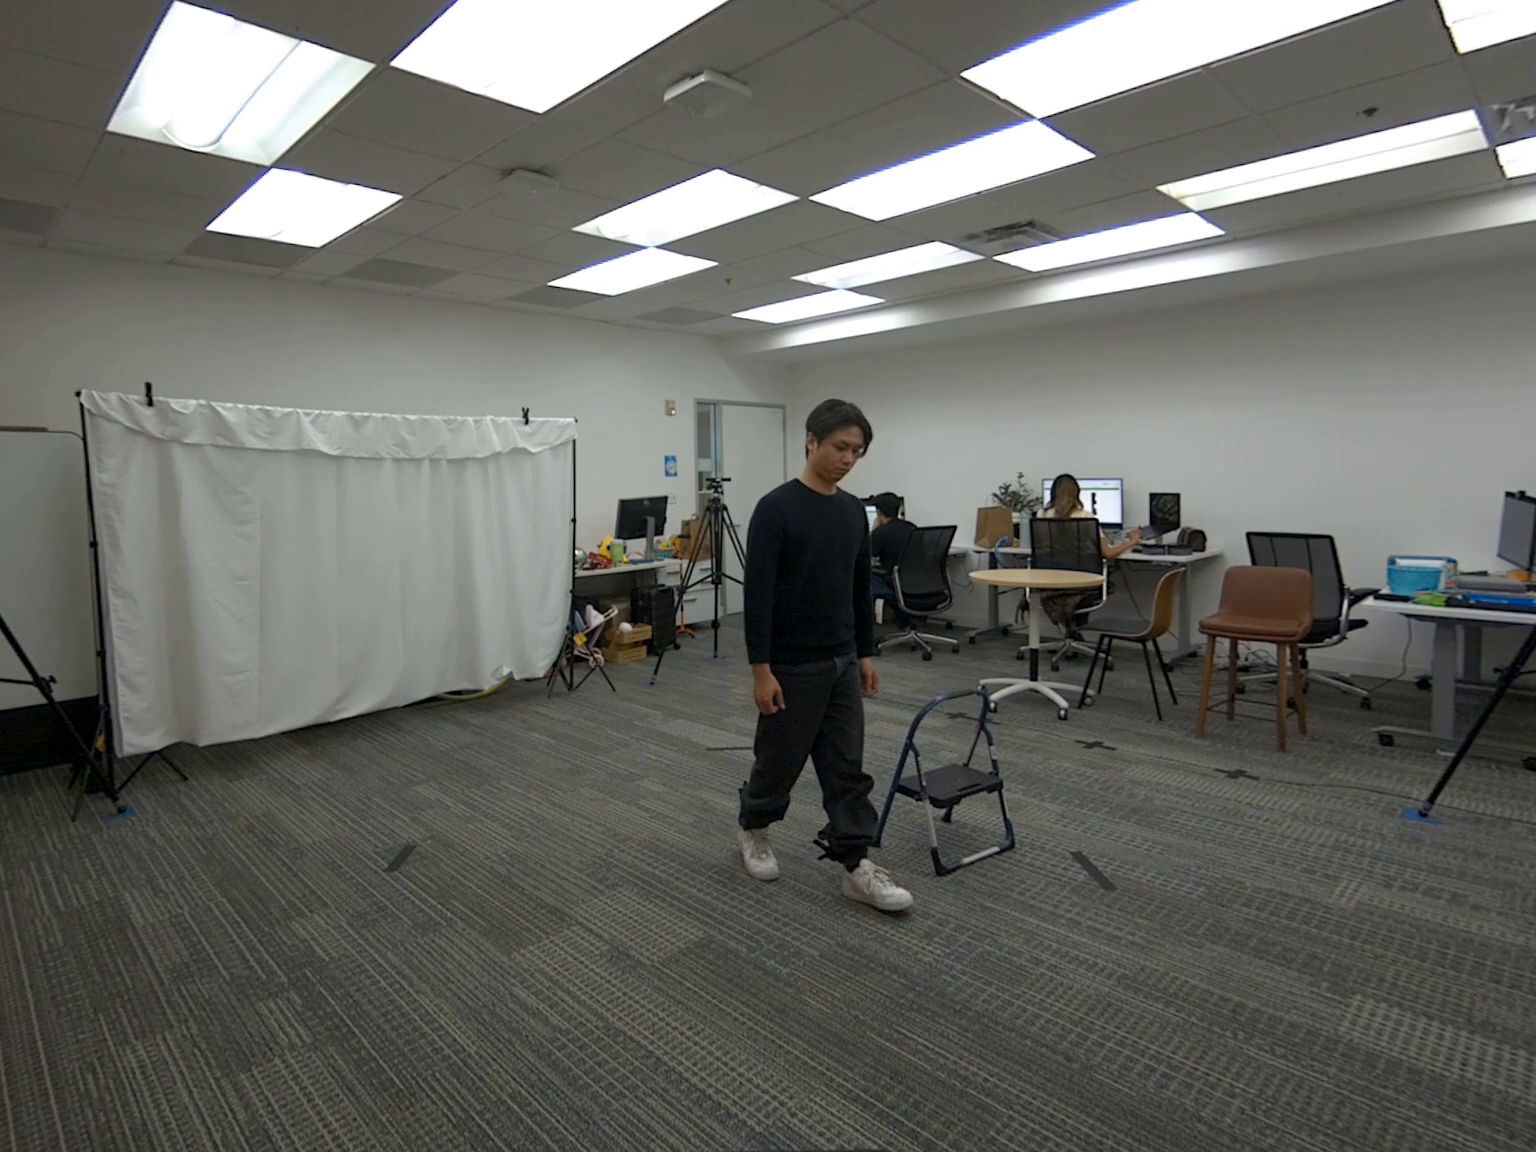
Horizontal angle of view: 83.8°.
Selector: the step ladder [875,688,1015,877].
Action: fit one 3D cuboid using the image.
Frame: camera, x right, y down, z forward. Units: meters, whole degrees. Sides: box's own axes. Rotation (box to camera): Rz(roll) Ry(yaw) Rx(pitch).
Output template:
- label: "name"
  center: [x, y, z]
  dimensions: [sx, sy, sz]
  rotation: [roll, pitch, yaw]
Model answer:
- label: "step ladder"
  center: [0.657, 0.718, 3.200]
  dimensions: [0.419, 0.604, 0.359]
  rotation: [-4, 5, -36]
